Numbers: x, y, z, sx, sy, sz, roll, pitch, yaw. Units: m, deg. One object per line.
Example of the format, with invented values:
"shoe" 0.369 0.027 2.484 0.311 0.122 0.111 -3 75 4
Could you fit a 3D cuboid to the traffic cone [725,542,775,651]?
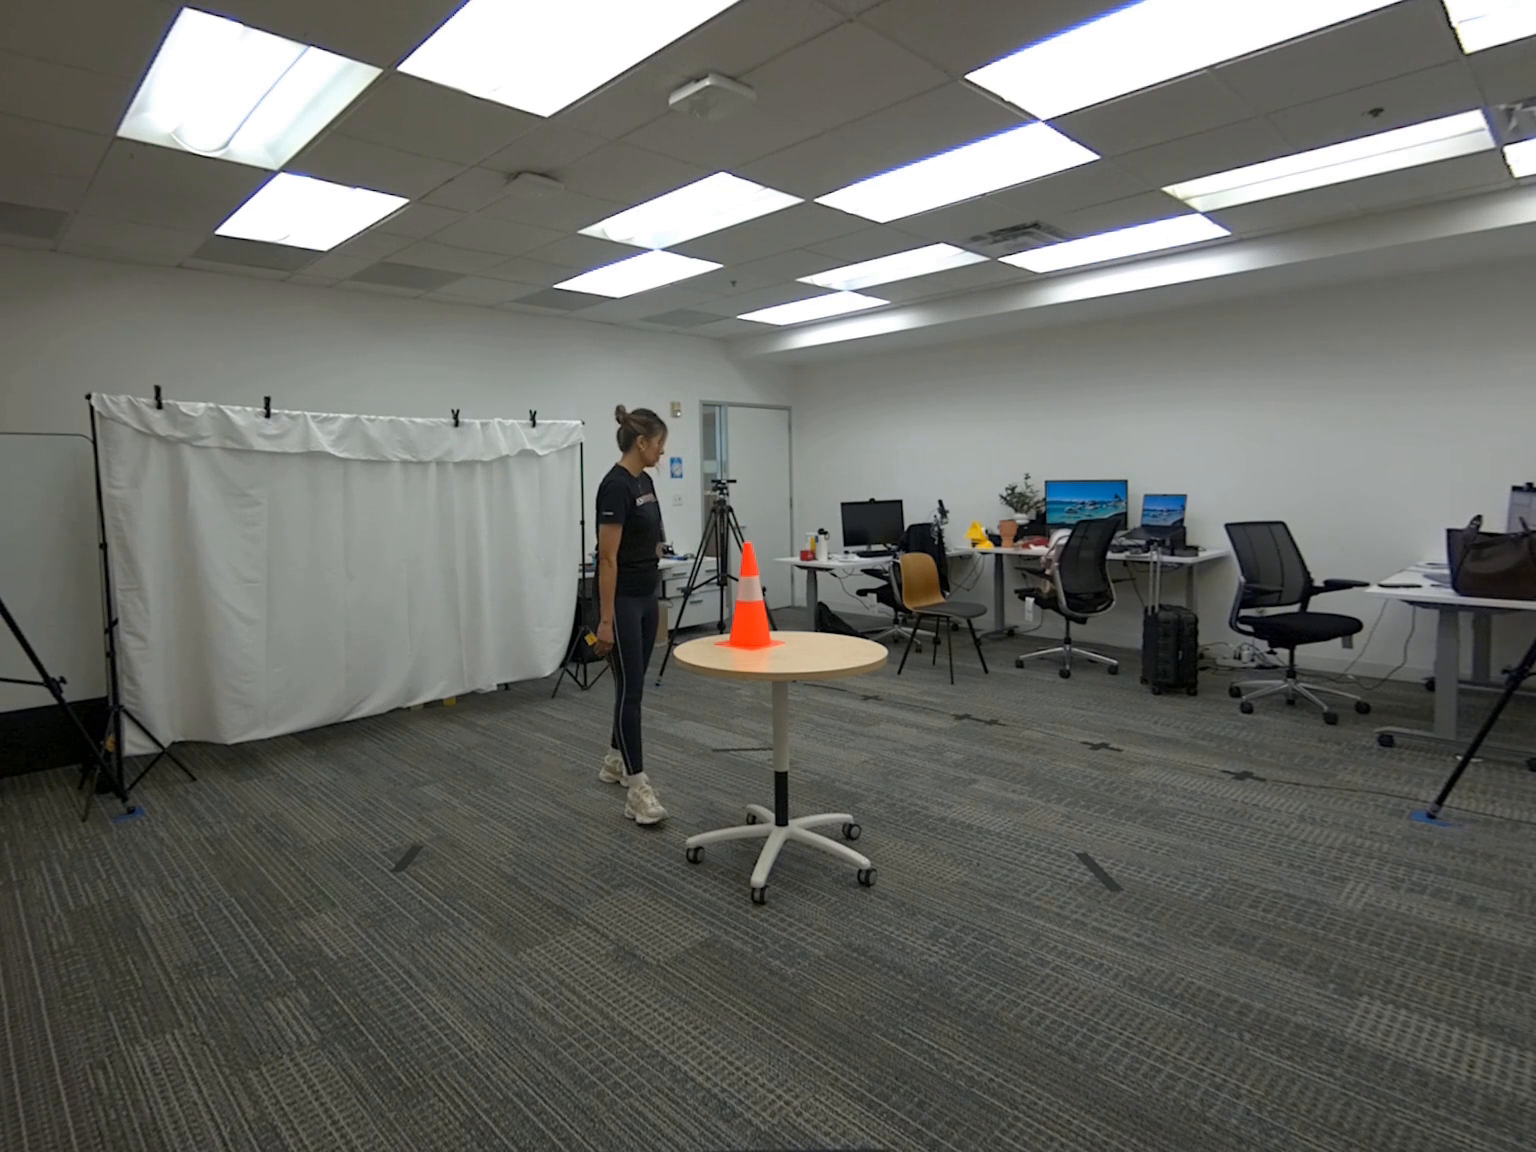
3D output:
"traffic cone" -0.071 0.068 3.197 0.211 0.383 0.198 0 3 35
